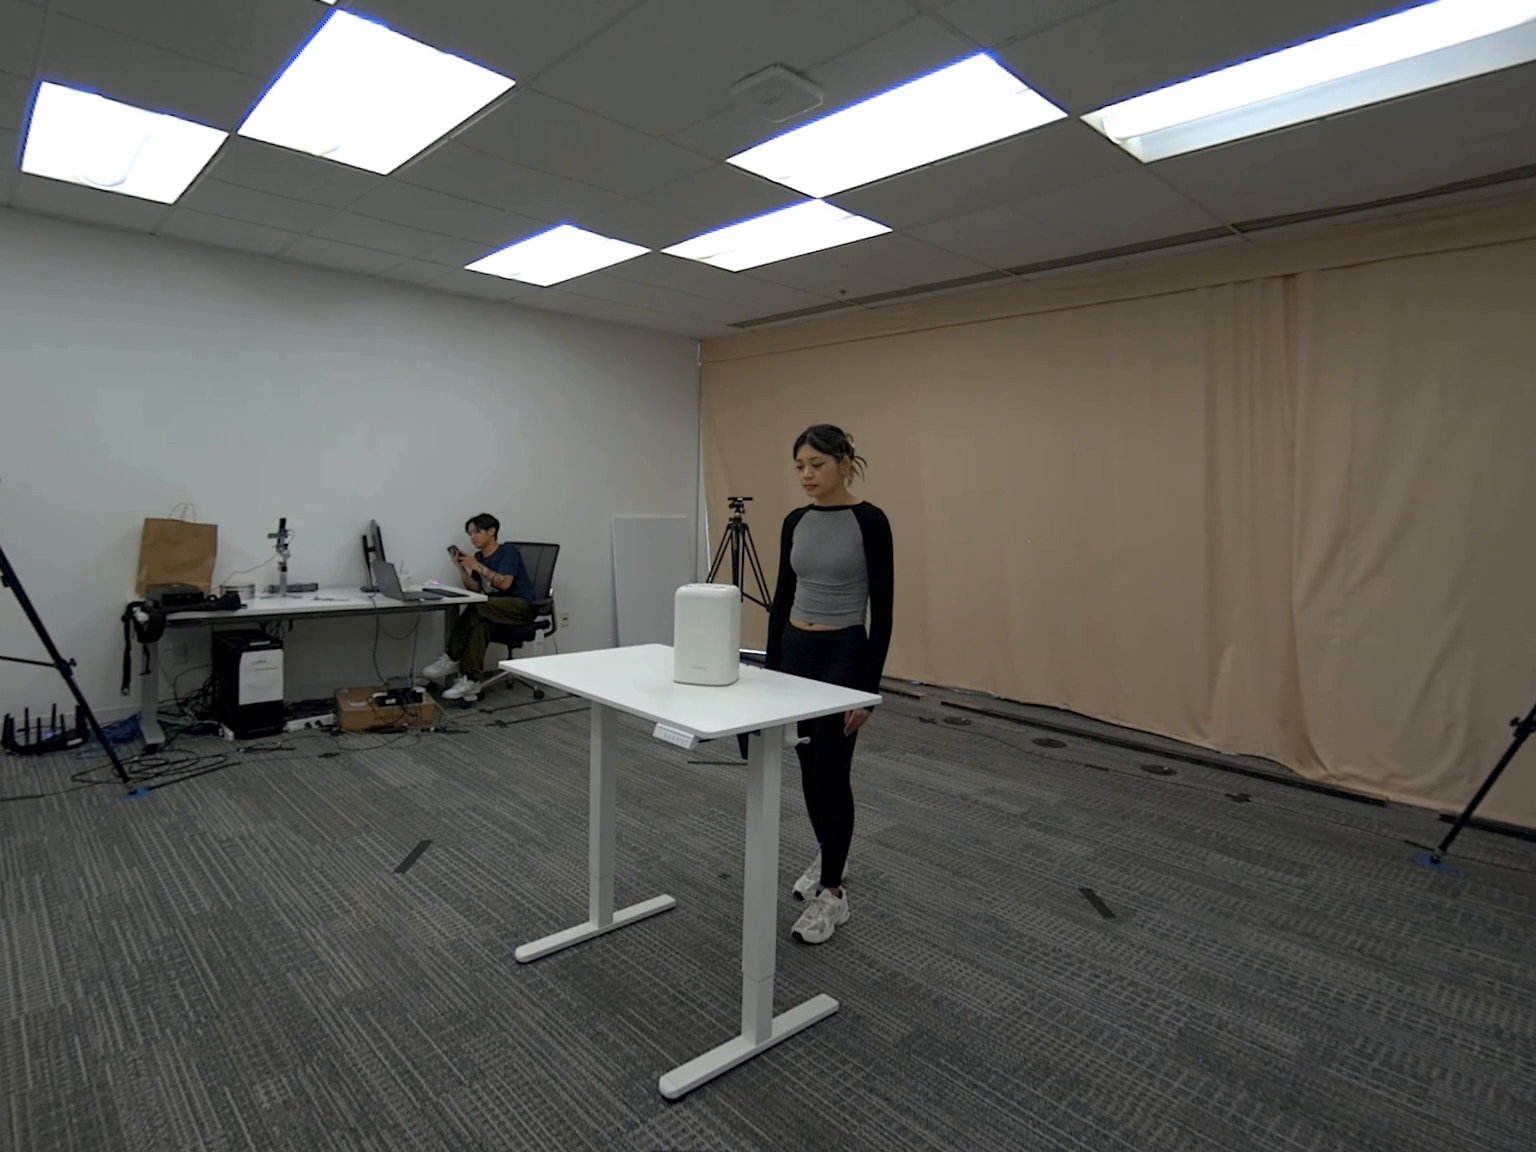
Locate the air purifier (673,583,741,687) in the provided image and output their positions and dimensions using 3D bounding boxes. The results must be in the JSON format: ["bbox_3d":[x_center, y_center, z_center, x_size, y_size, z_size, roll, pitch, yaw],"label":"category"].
[{"bbox_3d":[-0.172,0.161,2.351,0.173,0.265,0.170,2,3,15],"label":"air purifier"}]
